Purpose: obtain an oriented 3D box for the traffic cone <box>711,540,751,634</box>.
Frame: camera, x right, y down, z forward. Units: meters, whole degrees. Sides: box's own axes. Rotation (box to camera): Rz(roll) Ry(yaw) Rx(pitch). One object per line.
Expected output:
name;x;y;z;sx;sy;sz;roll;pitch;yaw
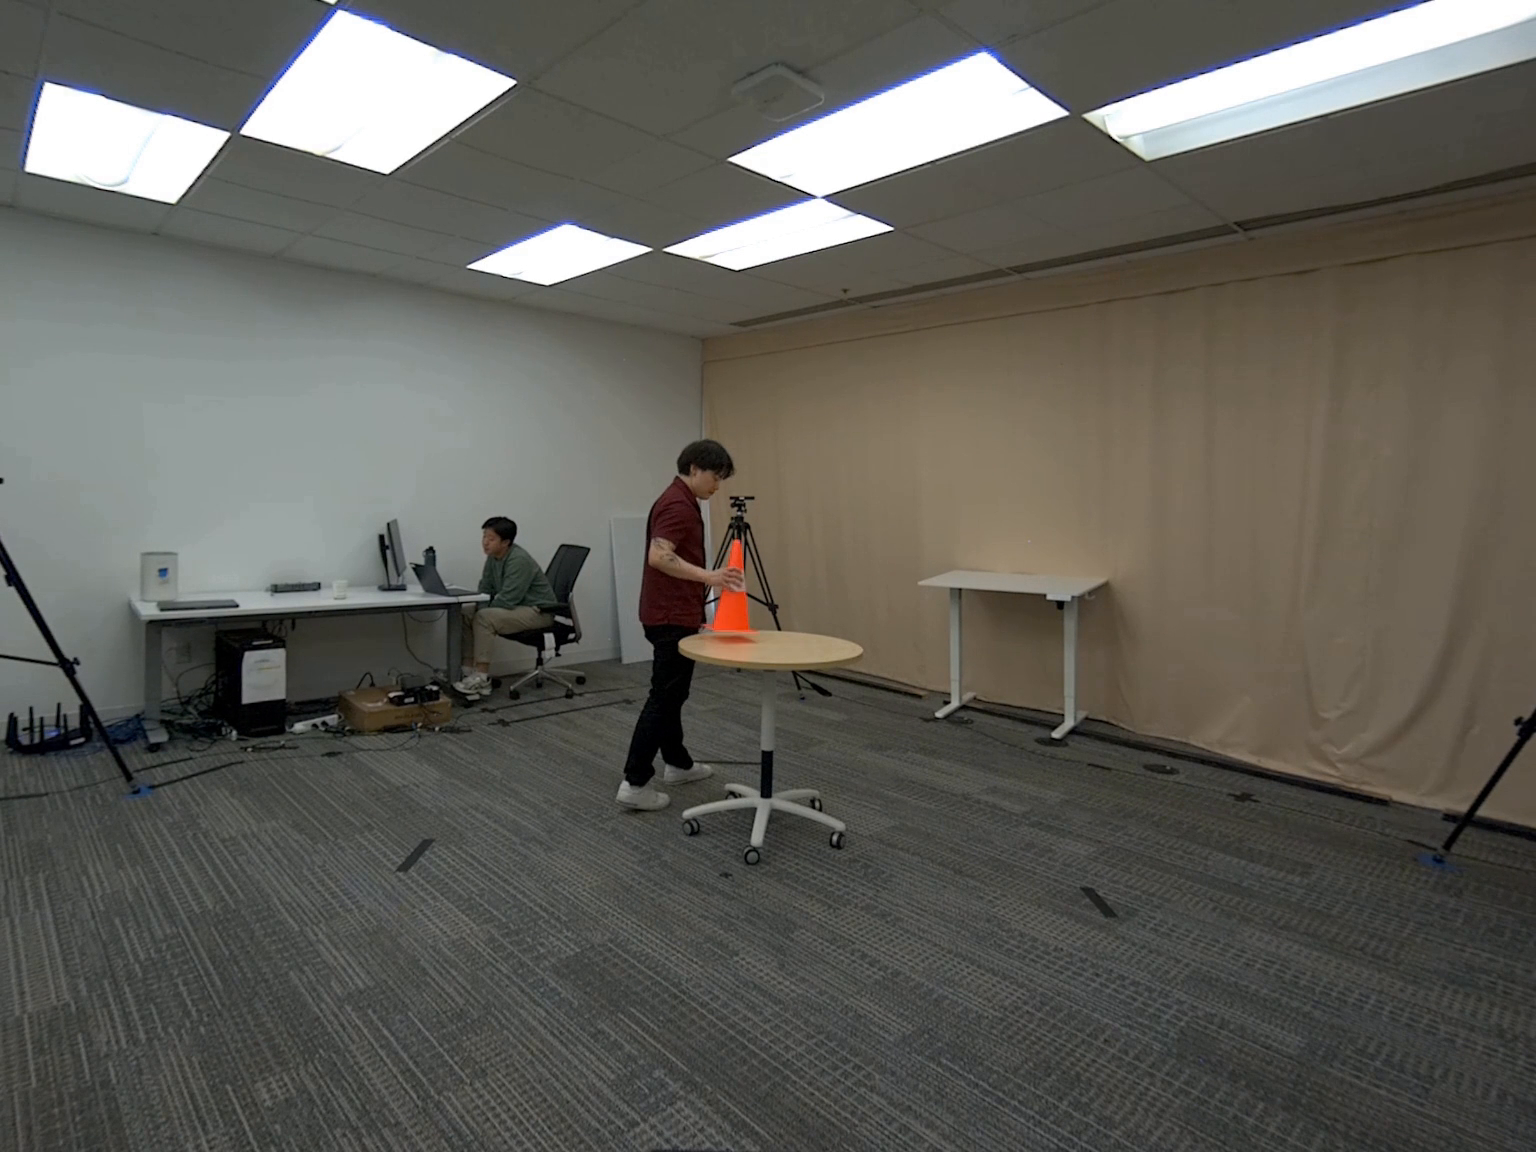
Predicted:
traffic cone;-0.149;0.032;3.609;0.207;0.384;0.201;6;0;21
